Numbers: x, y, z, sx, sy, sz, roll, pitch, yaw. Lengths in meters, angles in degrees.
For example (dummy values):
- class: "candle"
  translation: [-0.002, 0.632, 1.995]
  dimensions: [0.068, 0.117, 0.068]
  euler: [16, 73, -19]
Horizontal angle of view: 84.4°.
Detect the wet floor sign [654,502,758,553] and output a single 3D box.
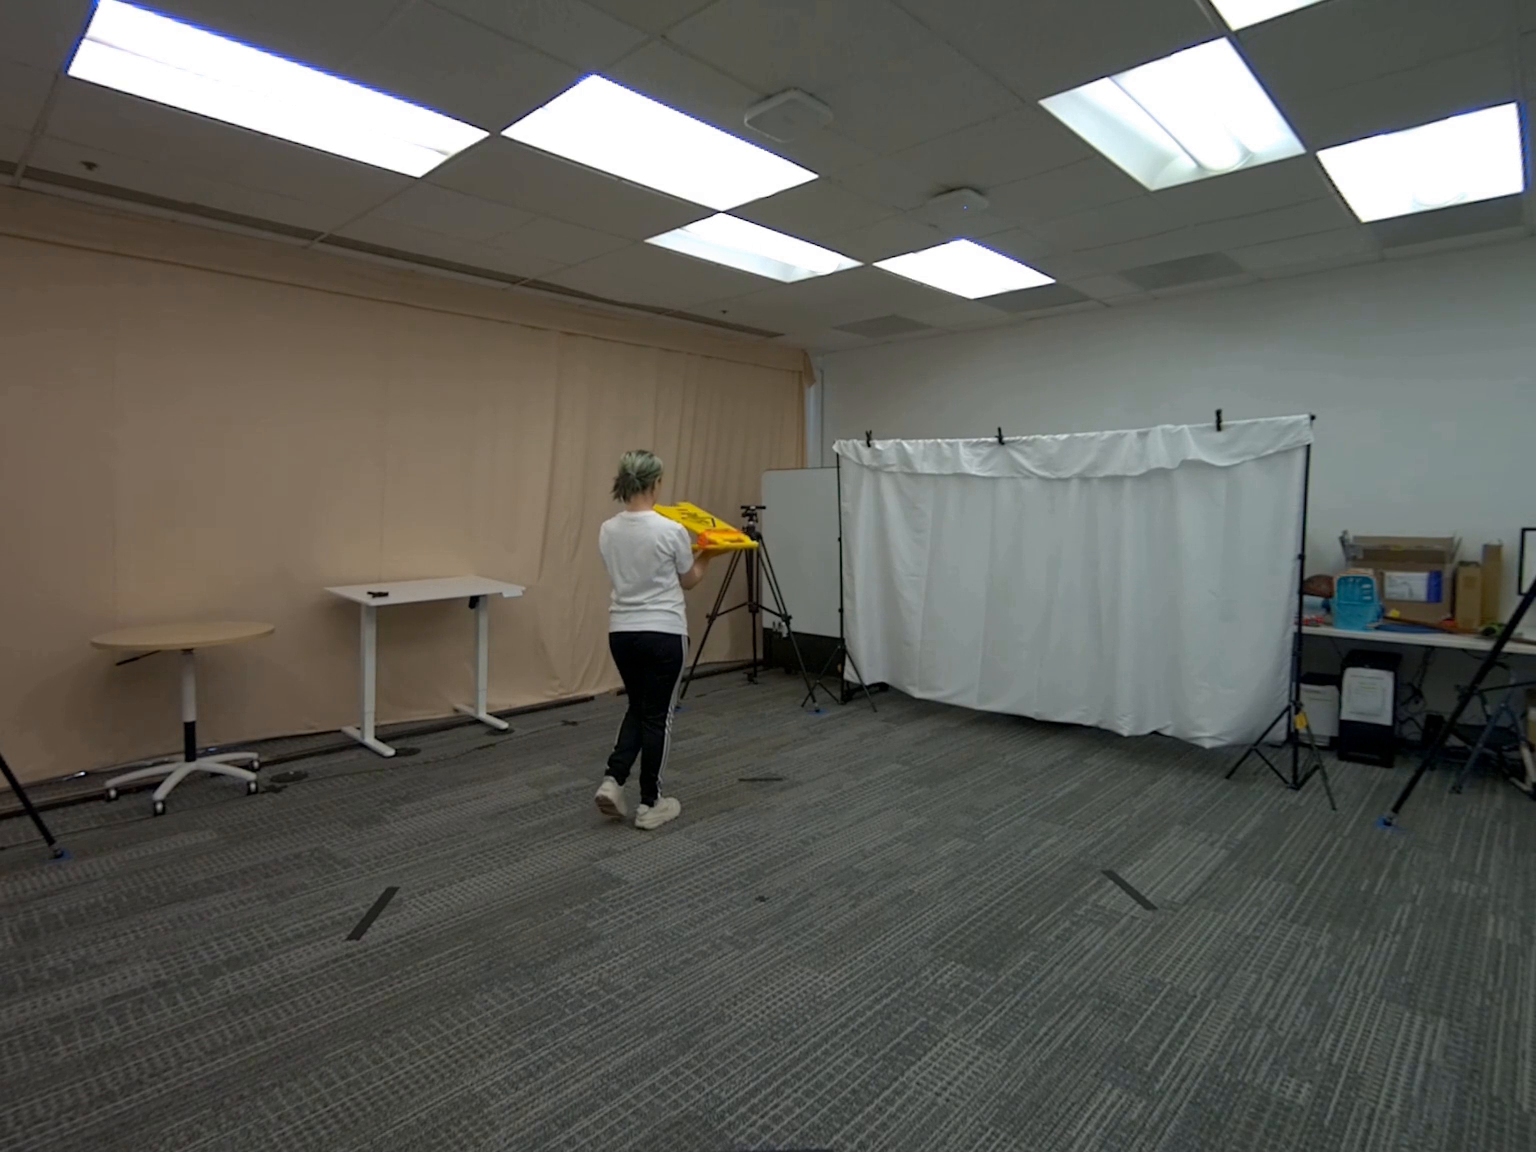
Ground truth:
- class: "wet floor sign"
  translation: [-0.317, -0.184, 3.965]
  dimensions: [0.274, 0.288, 0.669]
  euler: [-3, 9, -40]
